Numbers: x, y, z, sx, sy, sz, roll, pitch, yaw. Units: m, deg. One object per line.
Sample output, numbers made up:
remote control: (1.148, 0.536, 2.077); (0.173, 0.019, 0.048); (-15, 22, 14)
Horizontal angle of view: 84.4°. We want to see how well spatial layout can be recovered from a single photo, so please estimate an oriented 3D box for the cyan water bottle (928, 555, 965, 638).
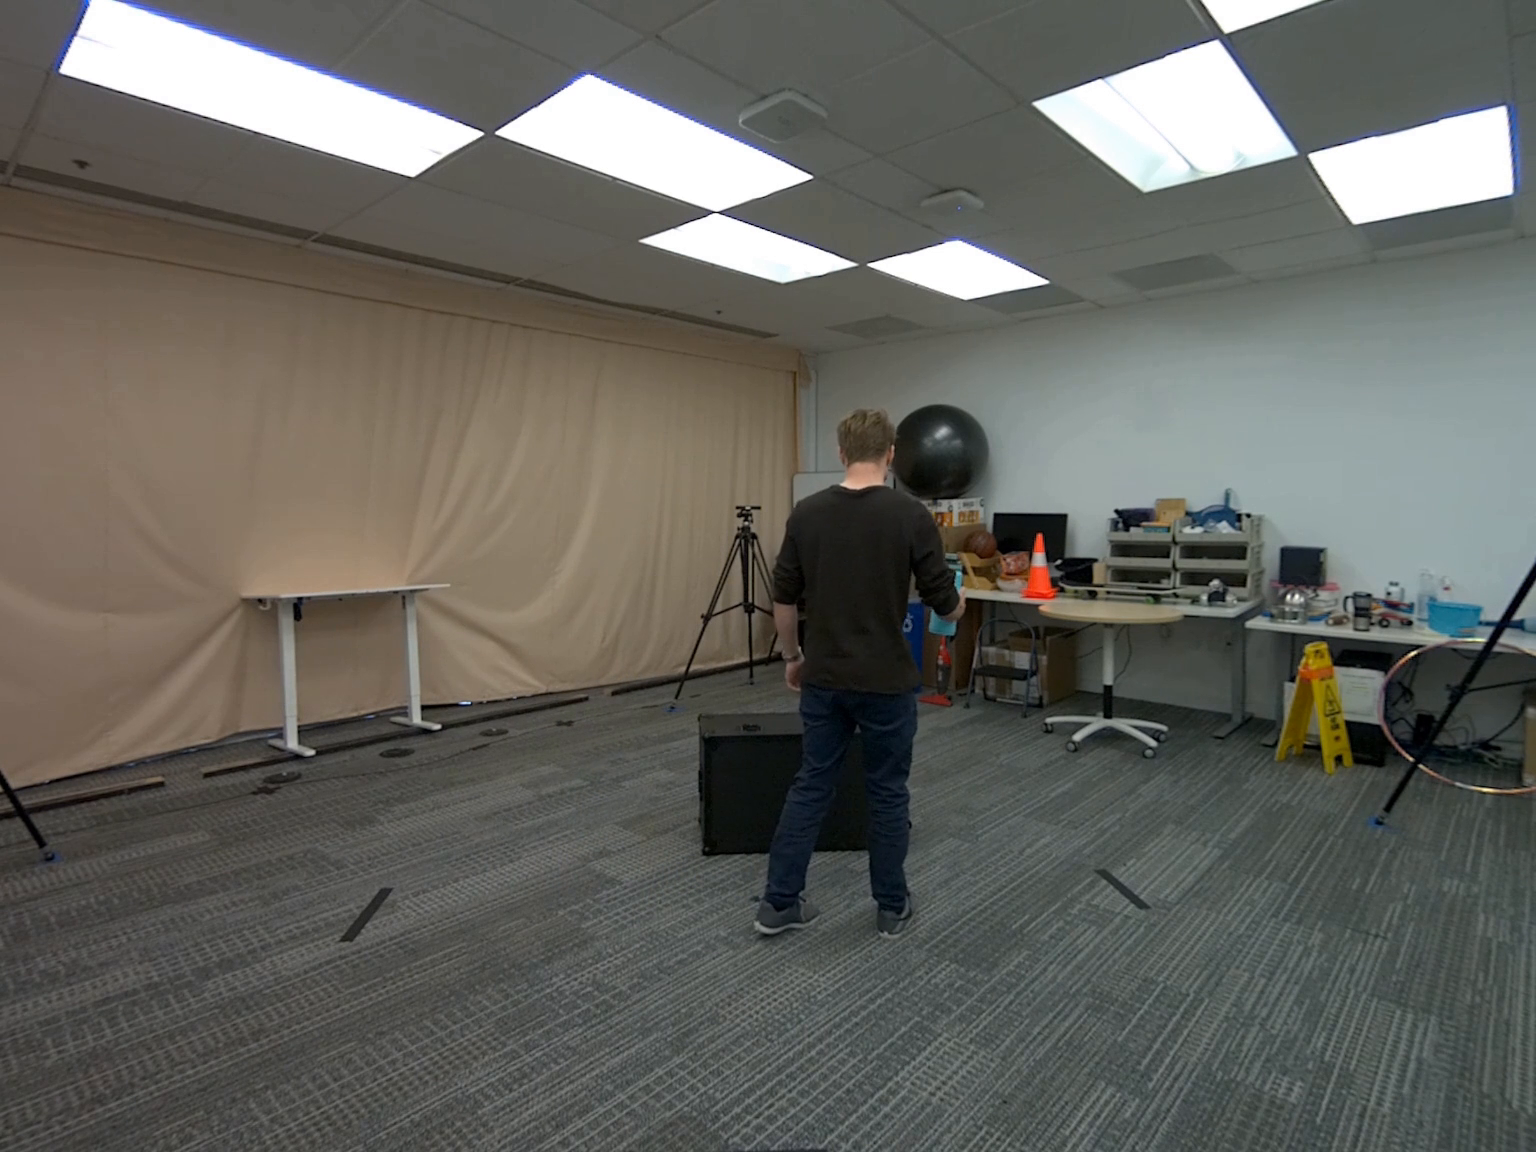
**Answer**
cyan water bottle: (0.633, 0.065, 2.971); (0.092, 0.283, 0.093); (8, 4, -3)
